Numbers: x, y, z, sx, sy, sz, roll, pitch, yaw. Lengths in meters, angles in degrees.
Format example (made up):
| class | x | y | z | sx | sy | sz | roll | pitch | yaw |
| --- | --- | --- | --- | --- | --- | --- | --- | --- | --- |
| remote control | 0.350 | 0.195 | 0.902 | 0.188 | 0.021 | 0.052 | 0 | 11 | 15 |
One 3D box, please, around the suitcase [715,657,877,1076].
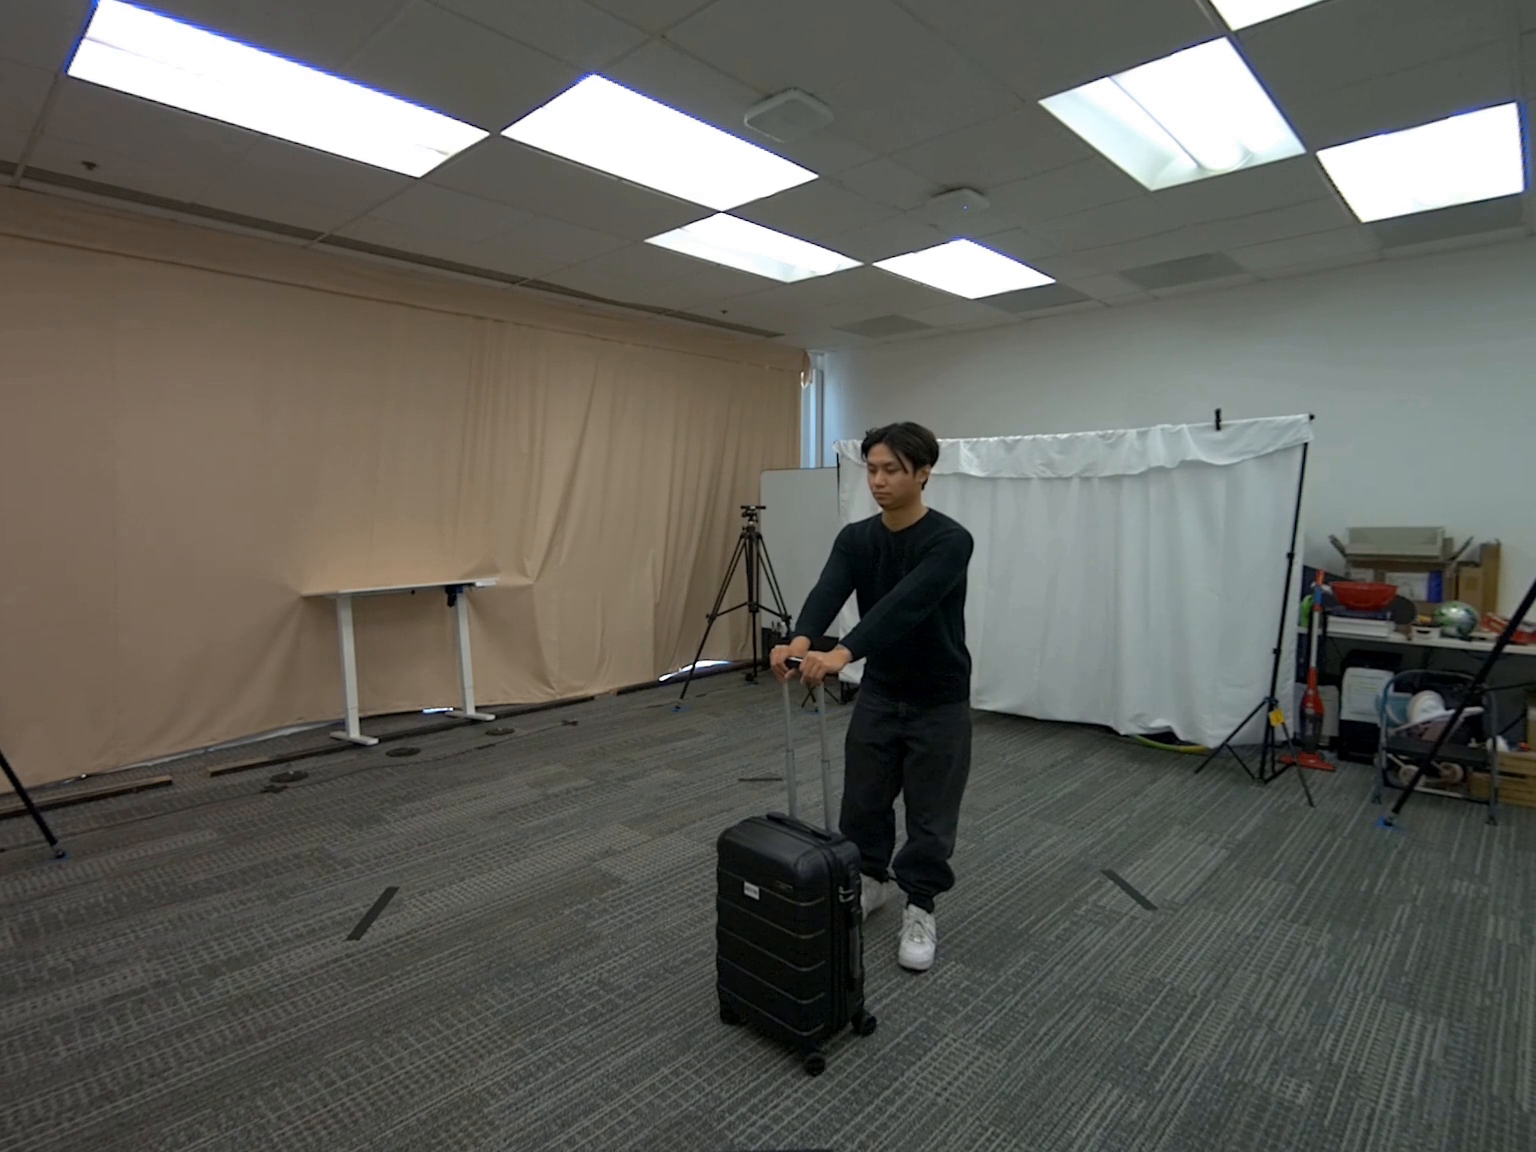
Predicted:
| class | x | y | z | sx | sy | sz | roll | pitch | yaw |
| --- | --- | --- | --- | --- | --- | --- | --- | --- | --- |
| suitcase | 0.049 | 0.736 | 2.212 | 0.397 | 0.975 | 0.249 | 2 | 6 | 44 |
